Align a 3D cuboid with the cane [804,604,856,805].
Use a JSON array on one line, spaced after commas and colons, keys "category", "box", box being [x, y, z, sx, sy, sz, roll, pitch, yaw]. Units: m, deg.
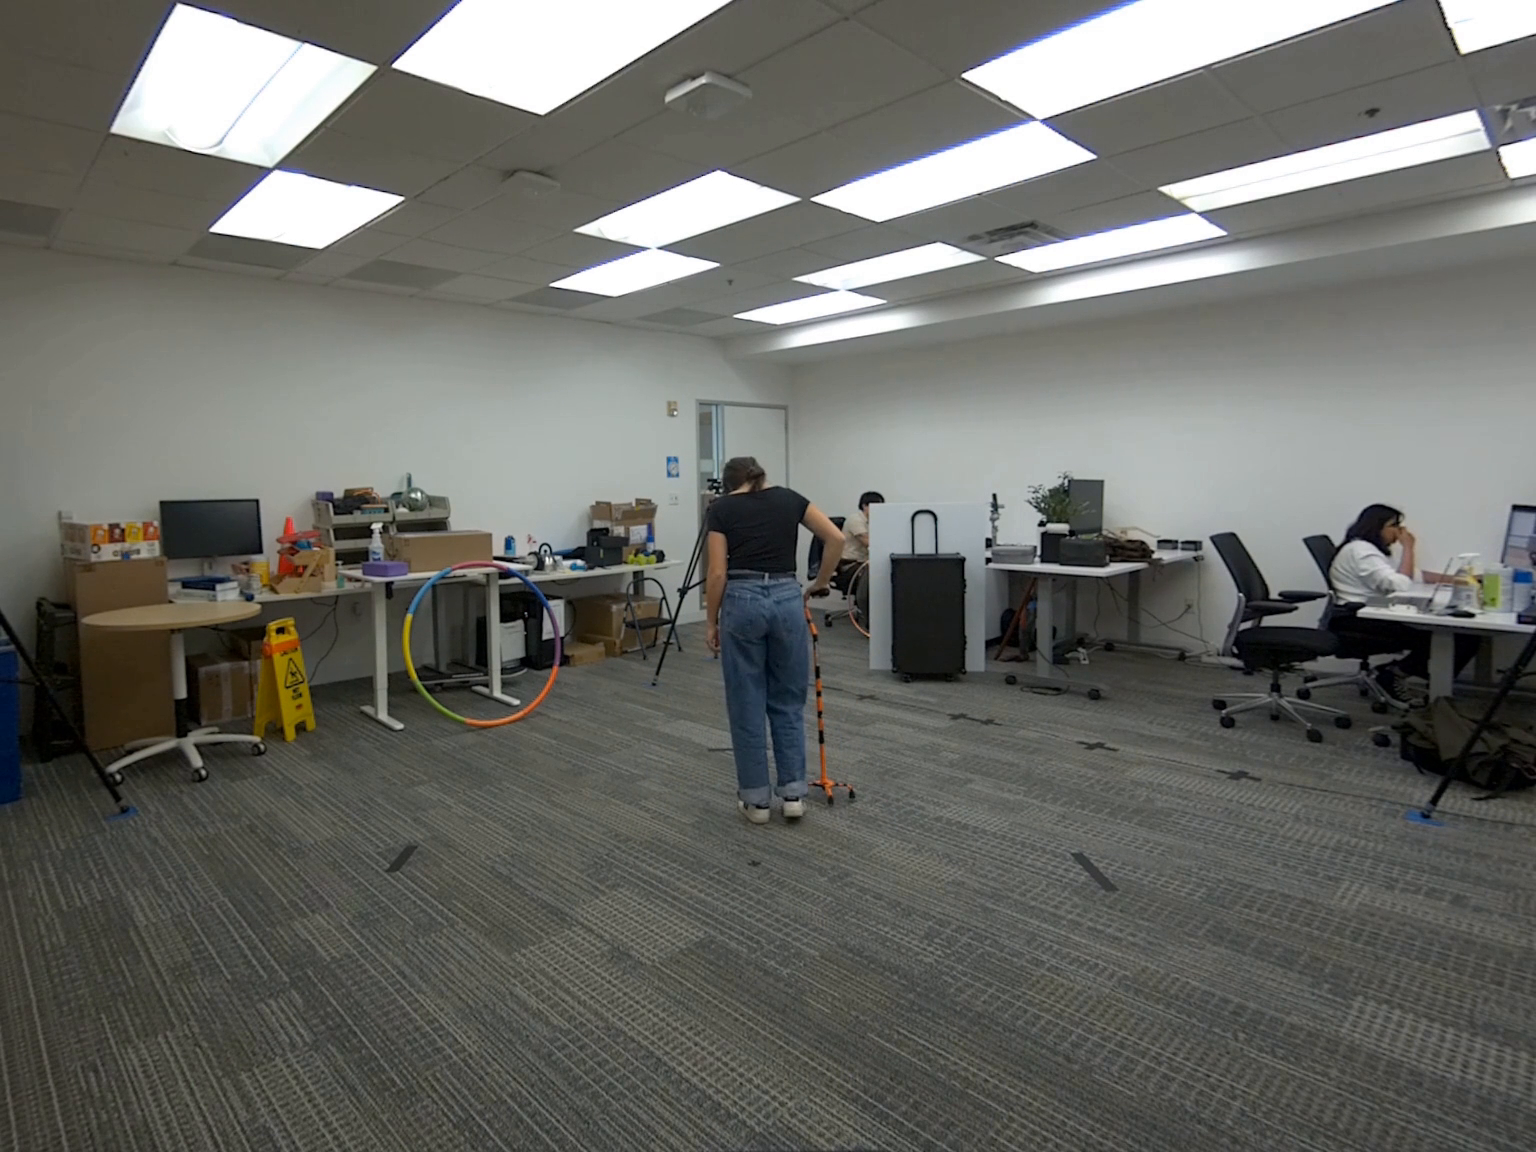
[{"category": "cane", "box": [0.232, 0.510, 3.746, 0.147, 0.909, 0.212, -3, -1, -39]}]
